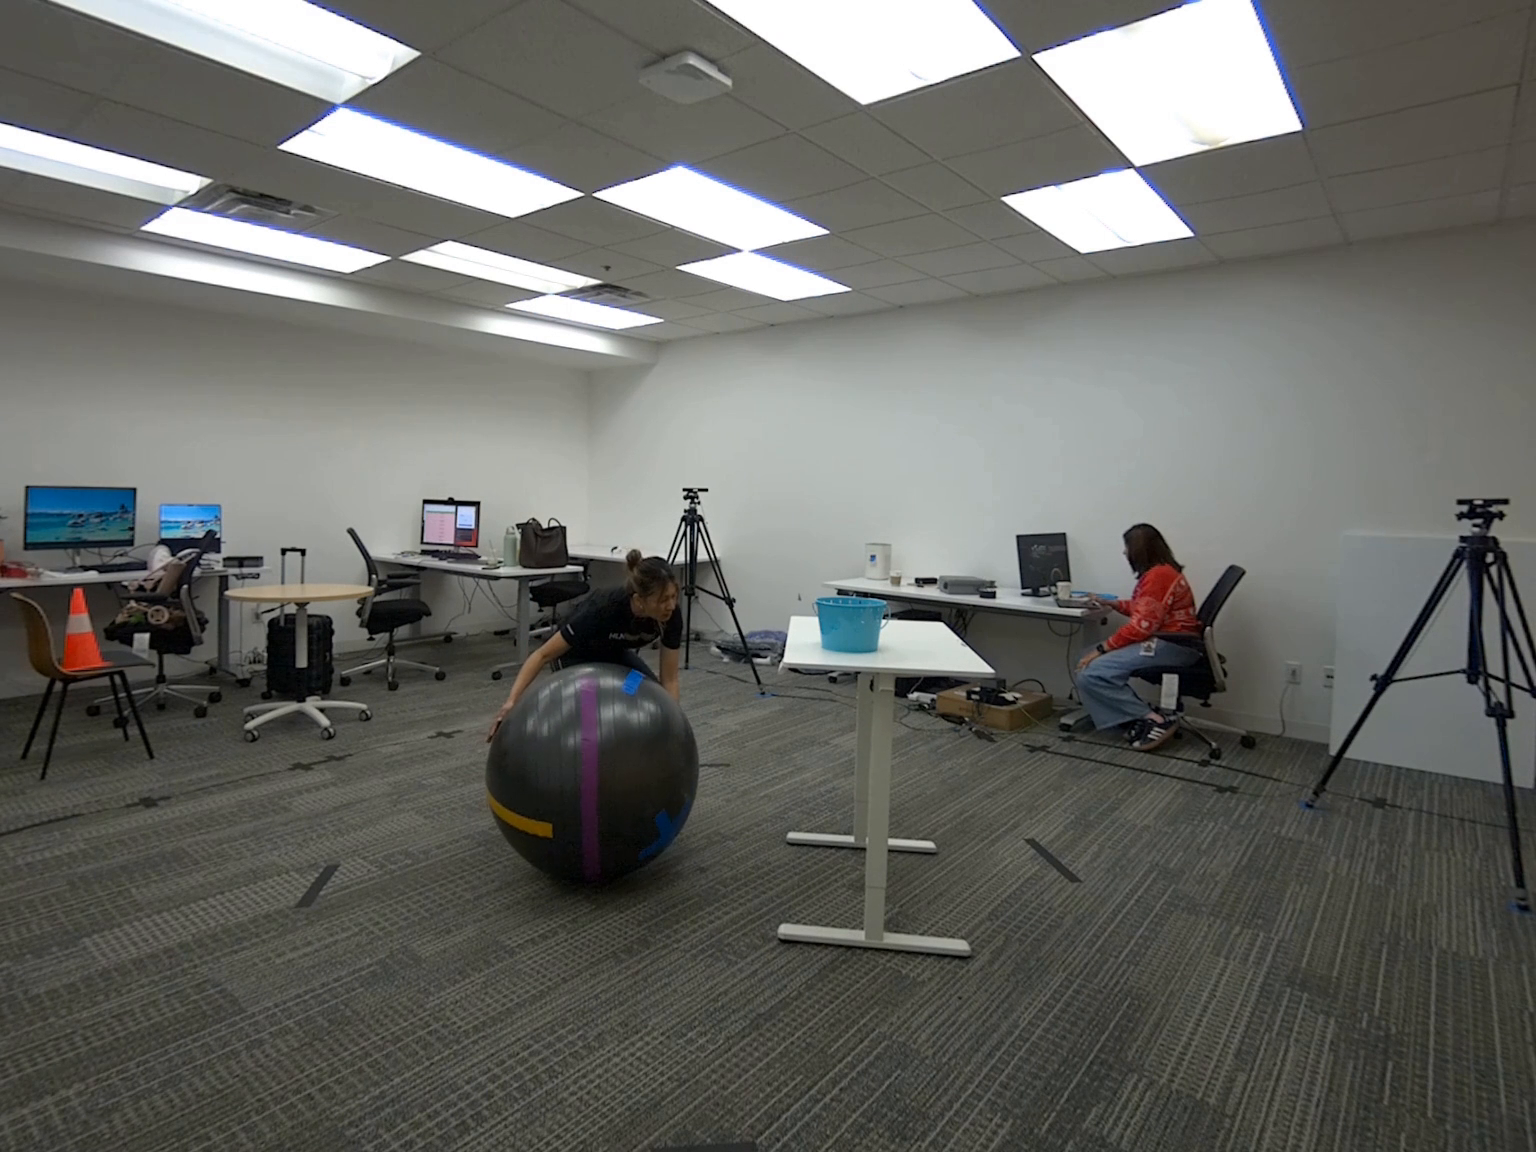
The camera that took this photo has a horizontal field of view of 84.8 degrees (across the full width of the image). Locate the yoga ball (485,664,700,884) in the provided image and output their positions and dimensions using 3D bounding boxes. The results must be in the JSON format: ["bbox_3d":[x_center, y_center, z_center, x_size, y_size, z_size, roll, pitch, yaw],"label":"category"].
[{"bbox_3d":[-0.640,0.702,3.066,0.757,0.756,0.762,1,4,-2],"label":"yoga ball"}]
